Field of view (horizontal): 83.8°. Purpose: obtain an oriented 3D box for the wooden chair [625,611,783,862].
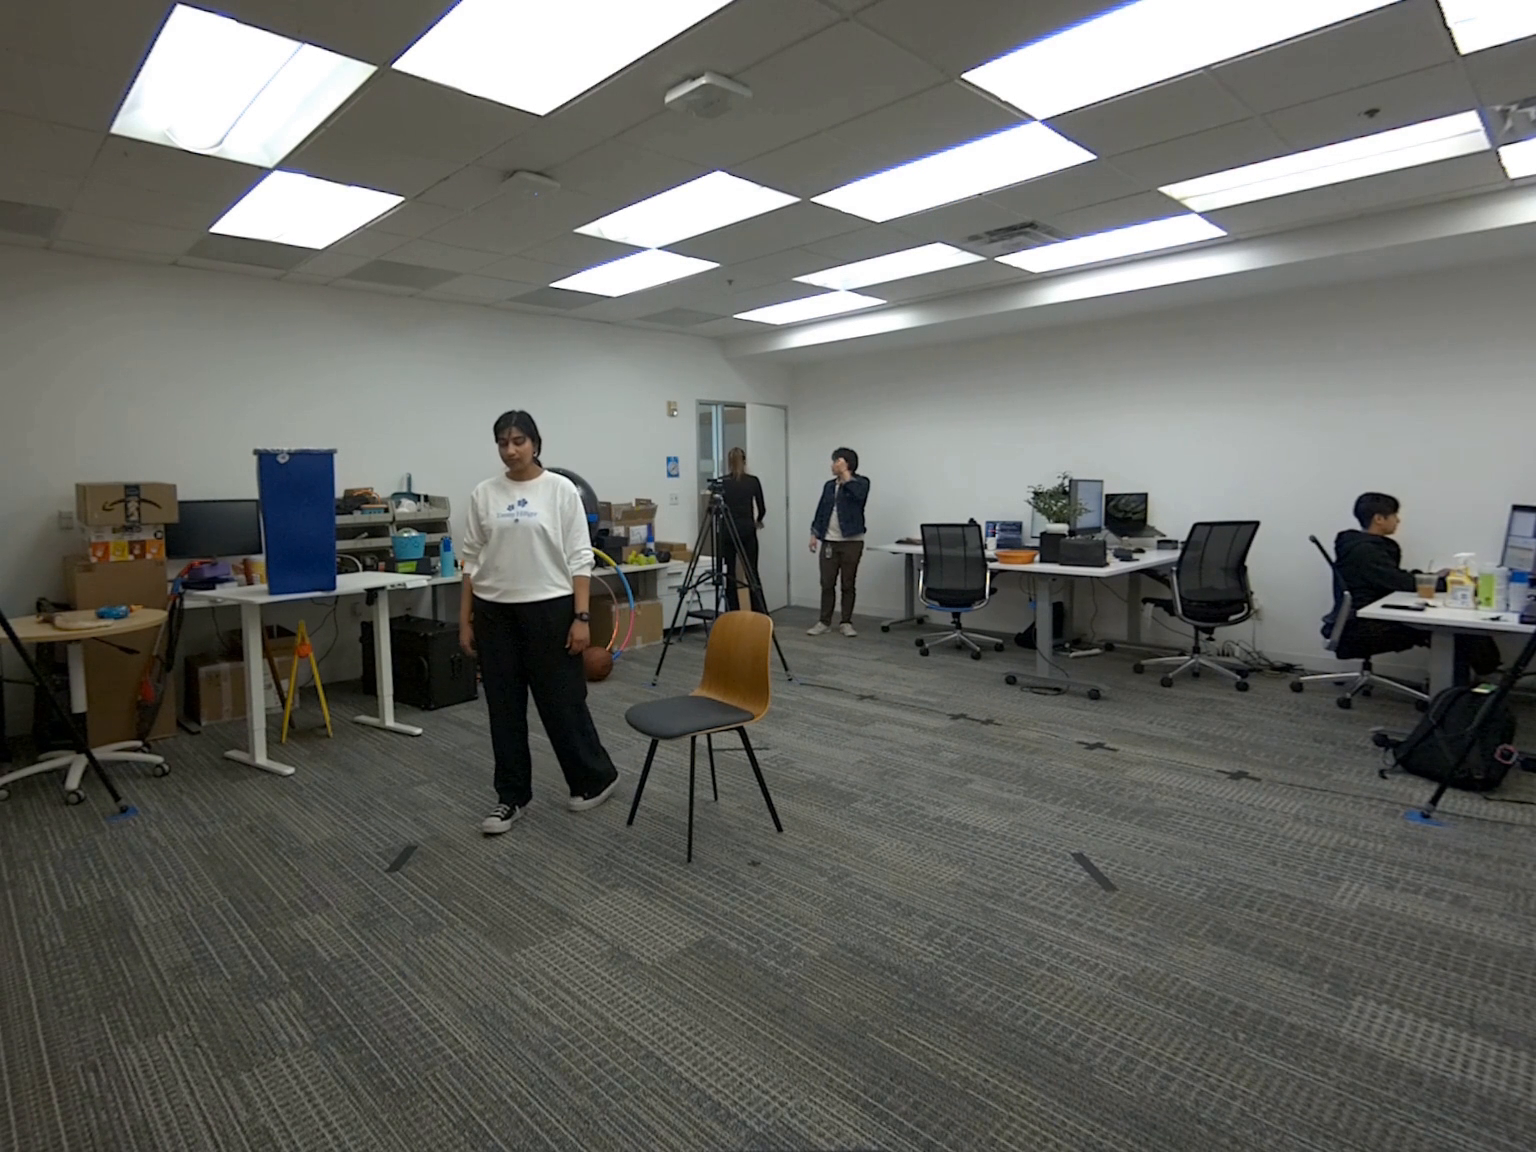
[{"bbox_3d":[-0.270,0.588,3.387,0.508,0.876,0.492,1,2,-38],"label":"wooden chair"}]
